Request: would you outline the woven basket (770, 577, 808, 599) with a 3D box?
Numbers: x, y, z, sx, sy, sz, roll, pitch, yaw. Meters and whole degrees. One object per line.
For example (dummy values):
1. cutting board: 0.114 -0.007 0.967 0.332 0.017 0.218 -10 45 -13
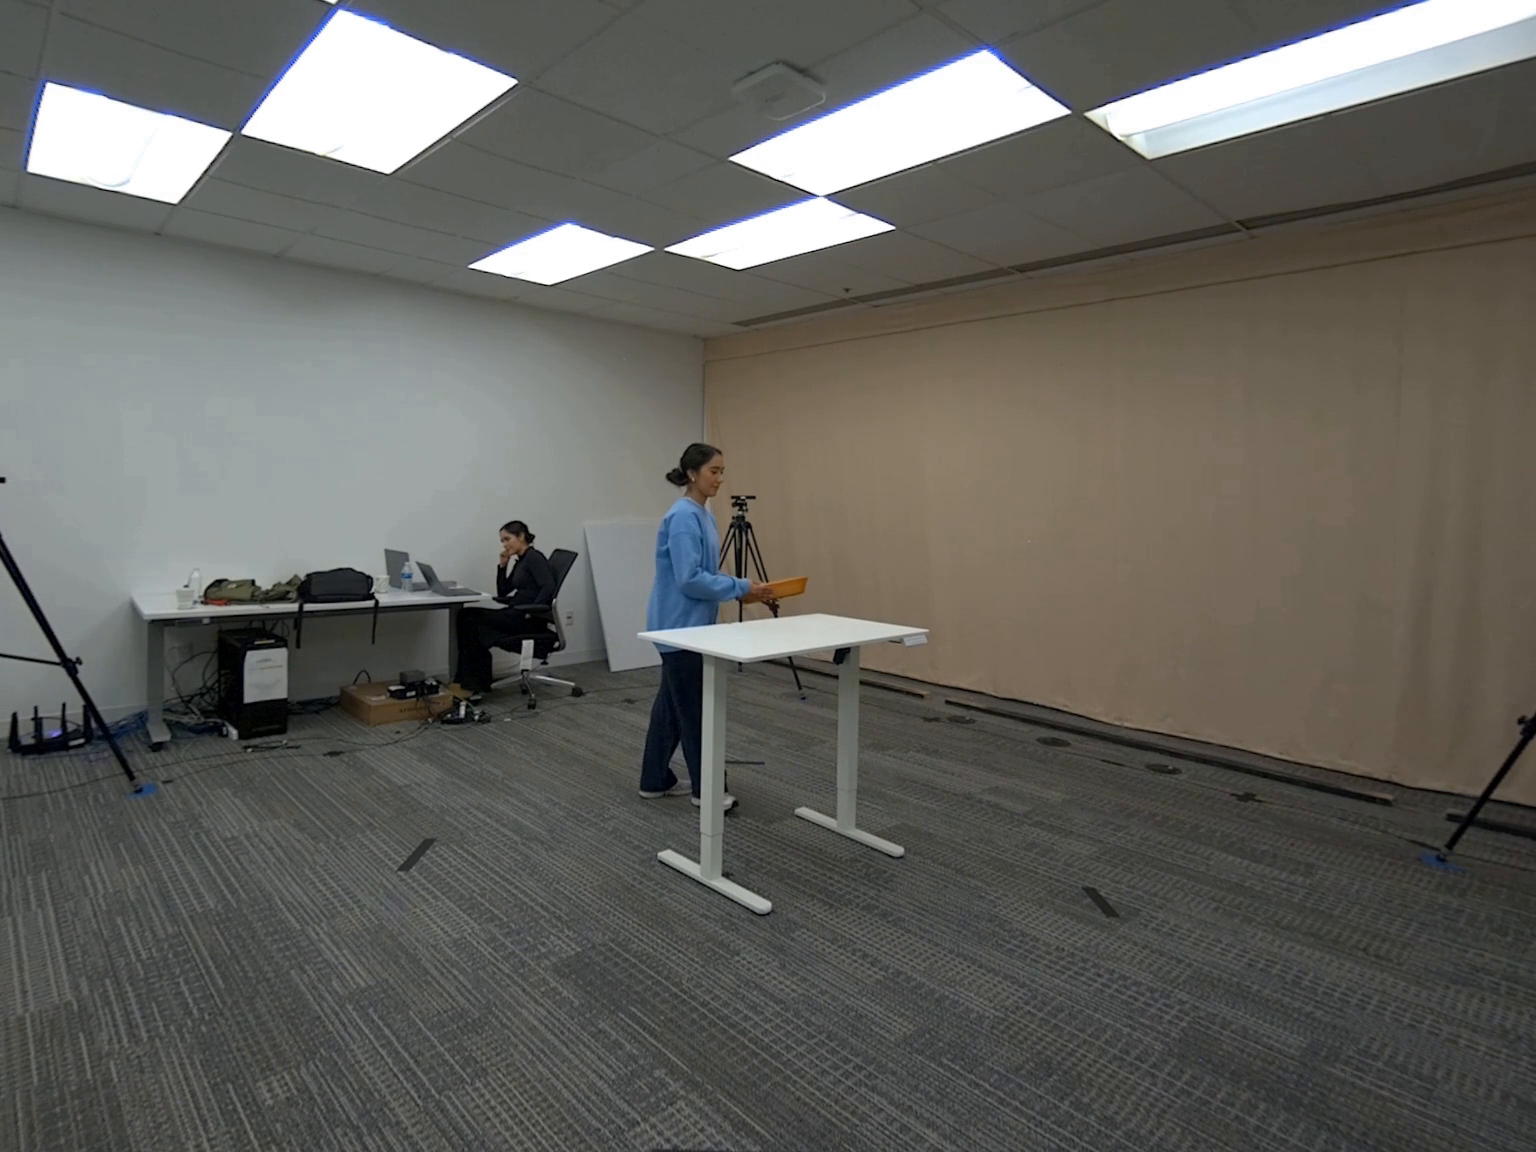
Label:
1. woven basket: -0.007 0.074 3.850 0.347 0.073 0.254 -11 0 -16
